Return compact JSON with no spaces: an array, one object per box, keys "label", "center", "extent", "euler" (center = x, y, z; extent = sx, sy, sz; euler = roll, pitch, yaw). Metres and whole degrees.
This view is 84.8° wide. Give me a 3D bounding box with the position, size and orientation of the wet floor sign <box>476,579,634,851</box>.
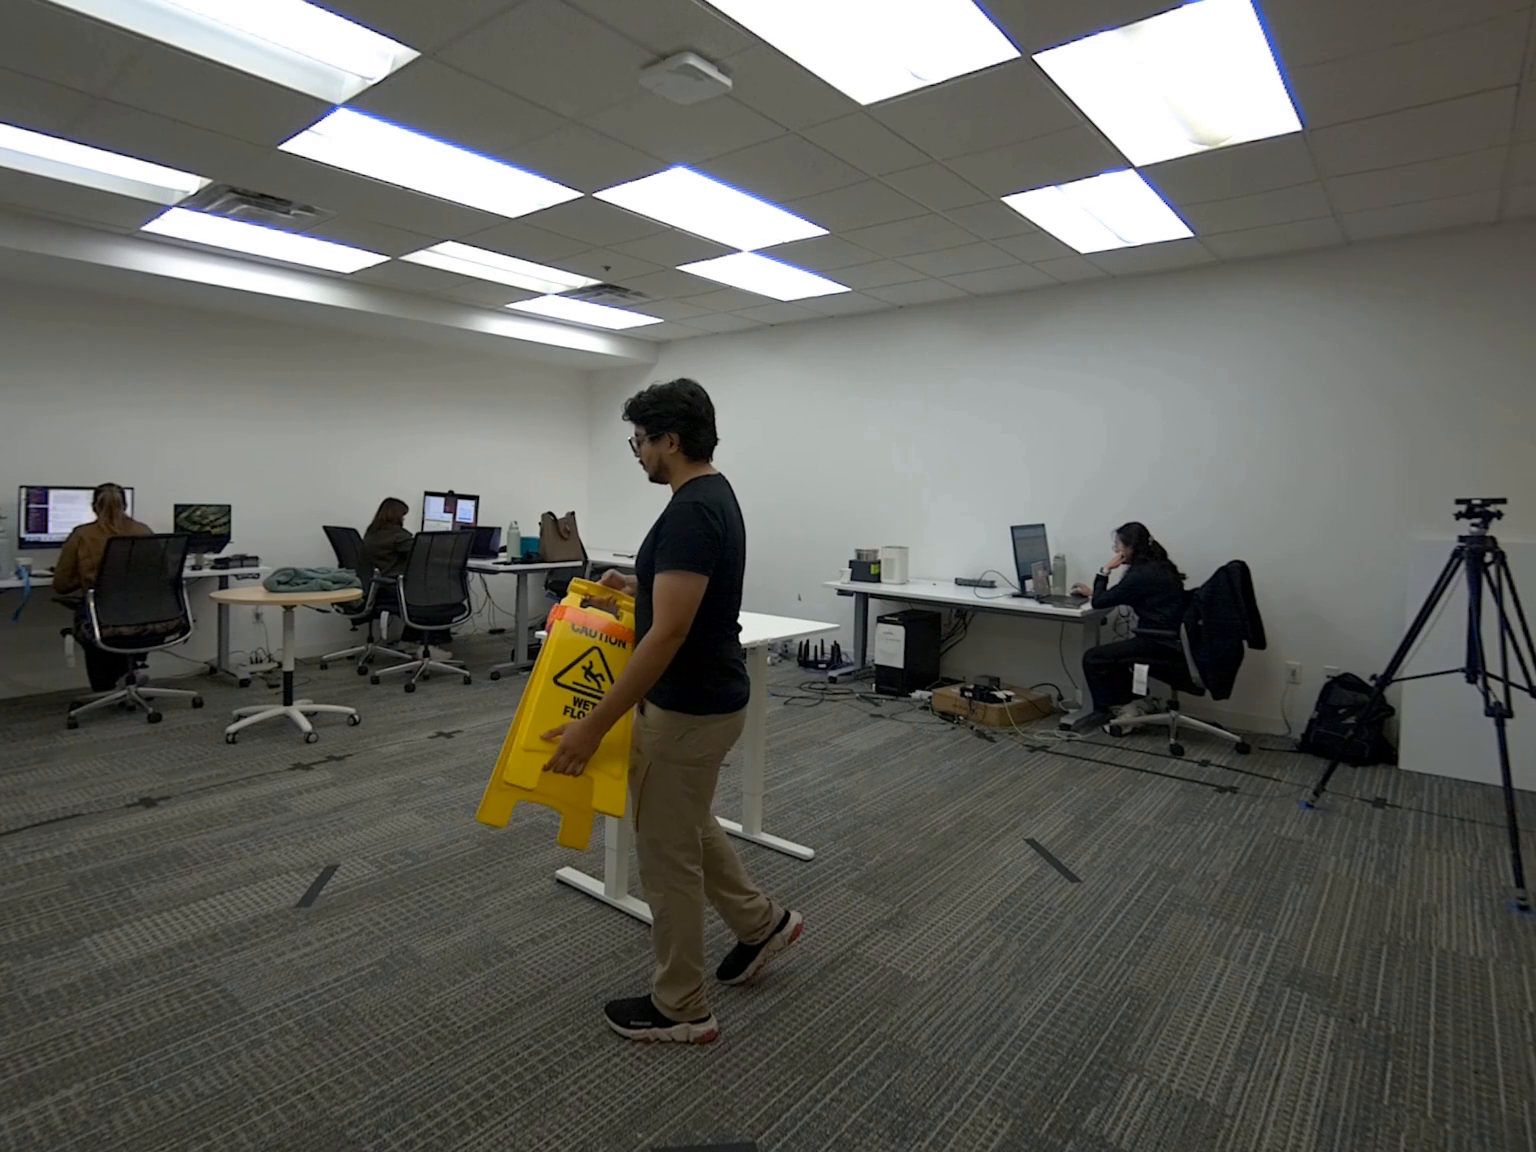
[{"label":"wet floor sign","center":[-0.481,0.296,2.138],"extent":[0.277,0.661,0.289],"euler":[20,-40,-16]}]
